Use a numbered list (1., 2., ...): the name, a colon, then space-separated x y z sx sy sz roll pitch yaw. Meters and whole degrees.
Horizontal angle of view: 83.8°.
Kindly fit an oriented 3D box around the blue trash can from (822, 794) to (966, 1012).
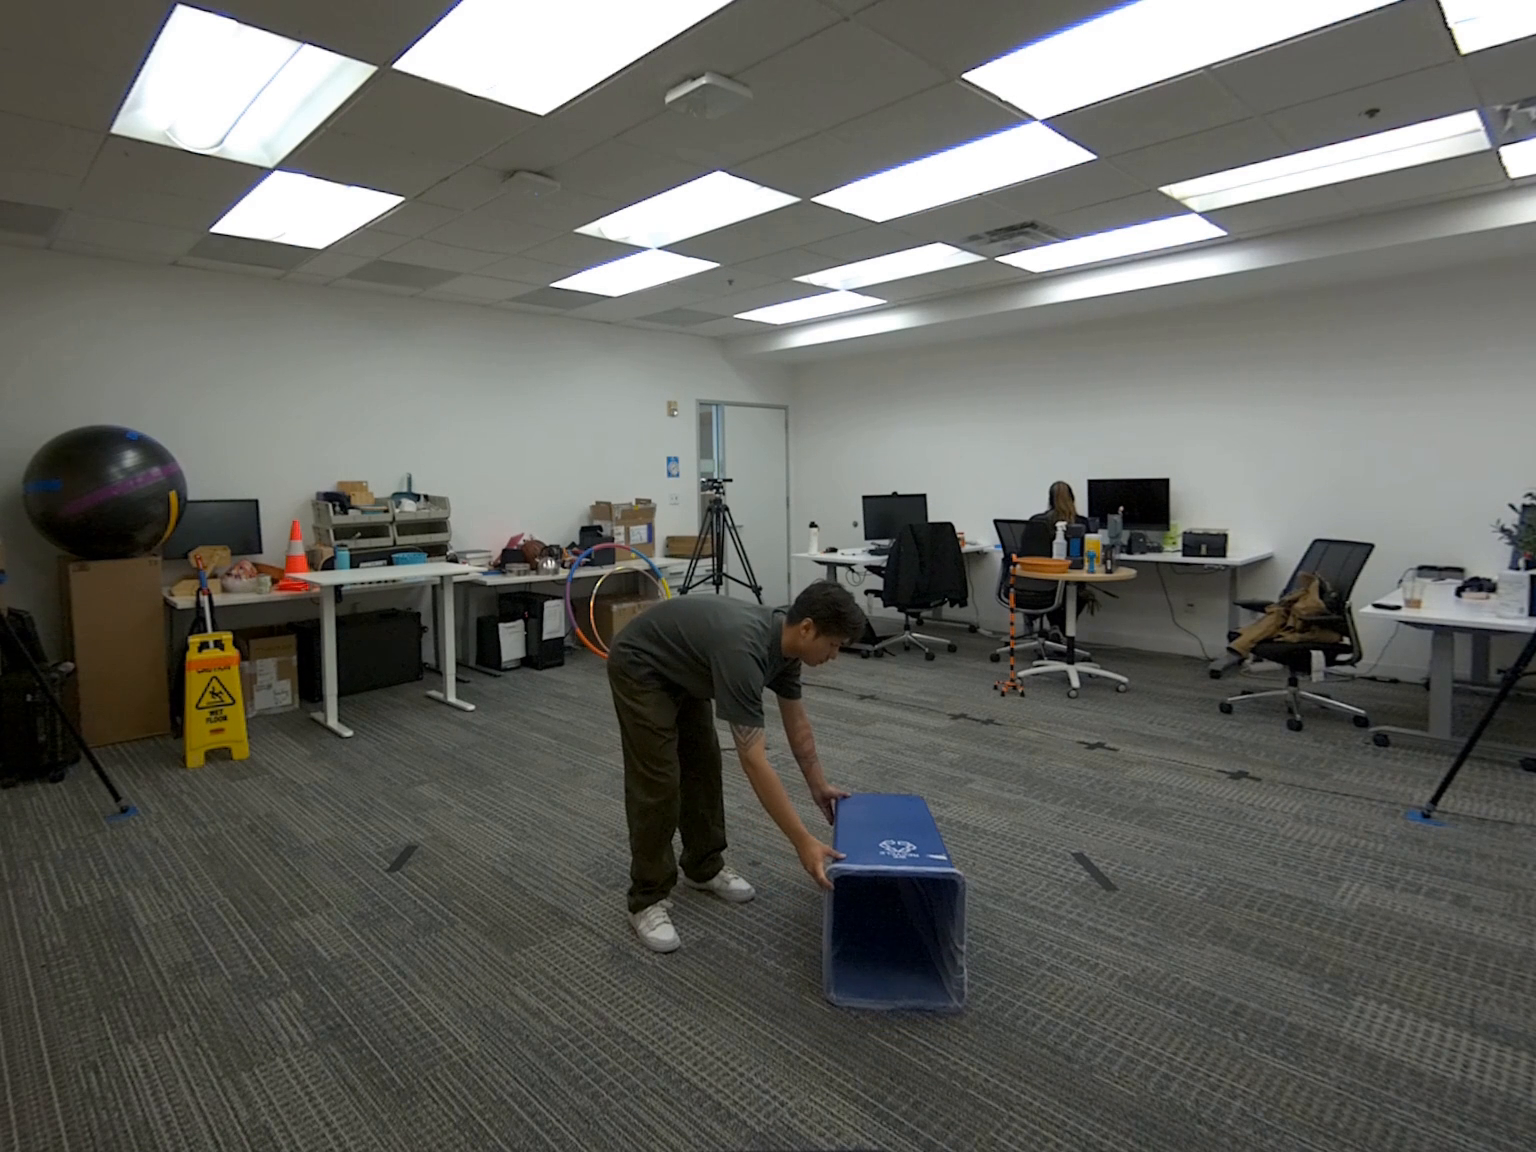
1. blue trash can: 0.365 0.923 2.586 0.380 0.373 0.712 -1 4 5
